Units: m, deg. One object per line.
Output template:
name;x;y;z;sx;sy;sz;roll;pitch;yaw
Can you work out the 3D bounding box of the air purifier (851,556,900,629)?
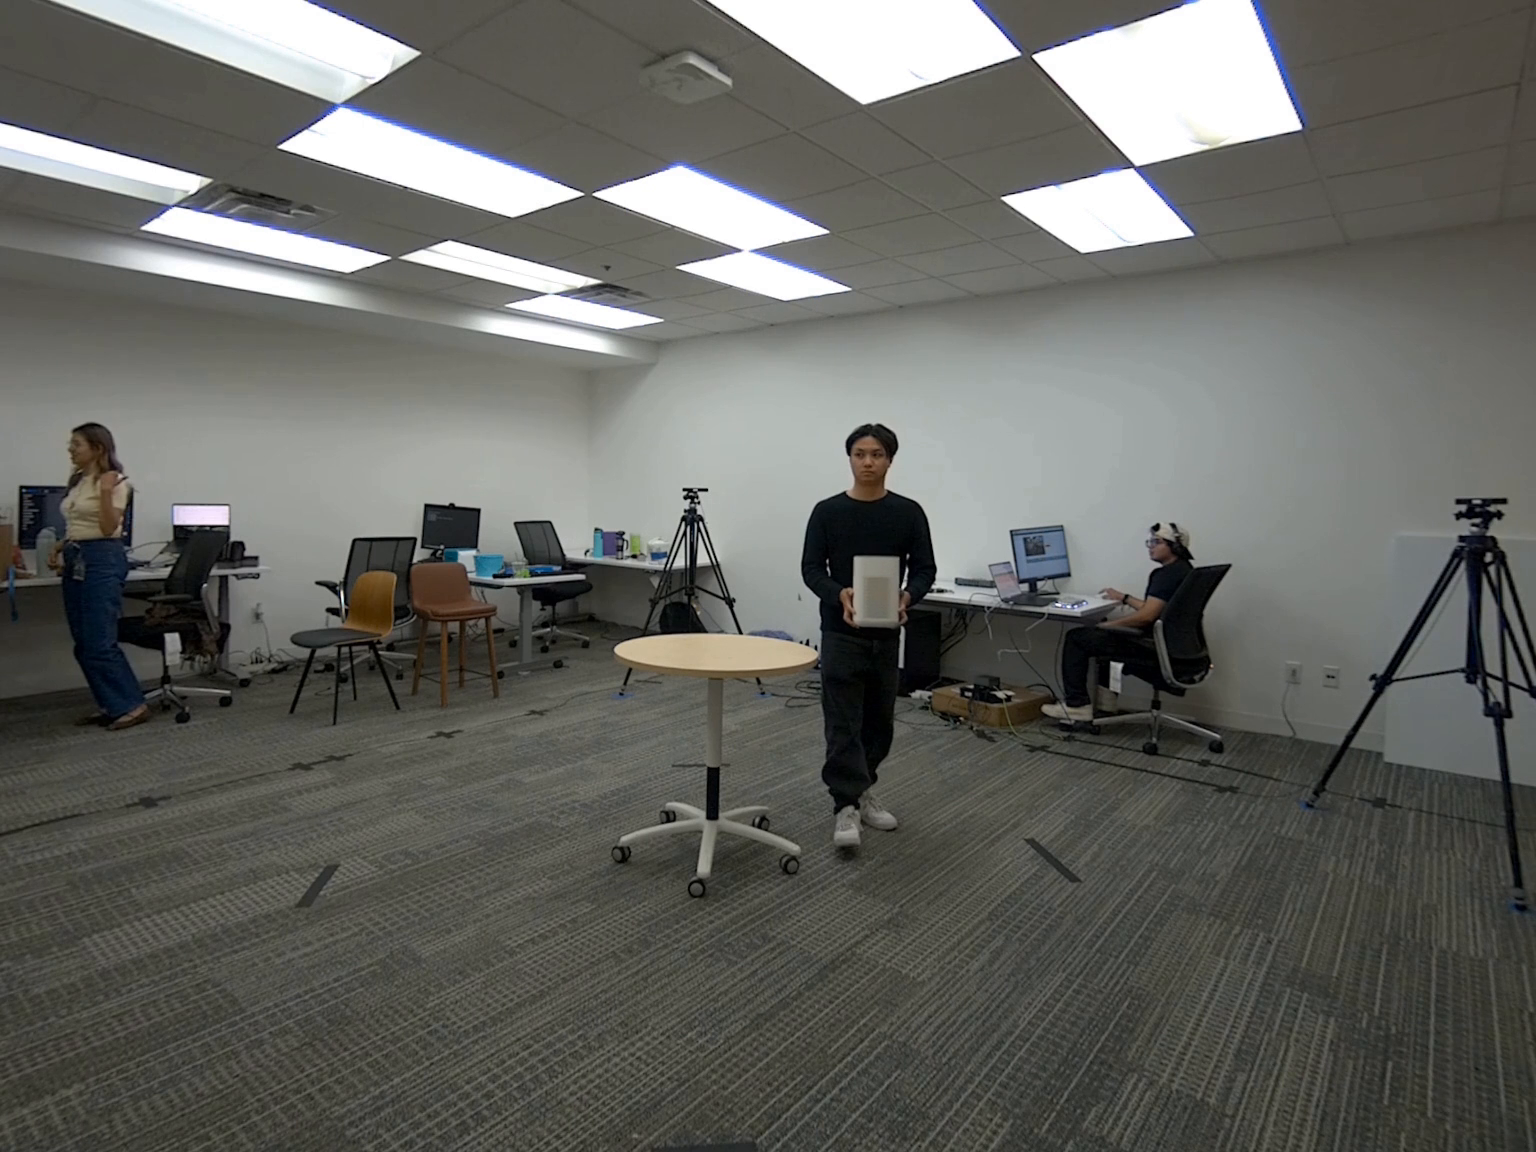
air purifier;0.405;0.050;3.236;0.173;0.266;0.169;-1;-3;5
